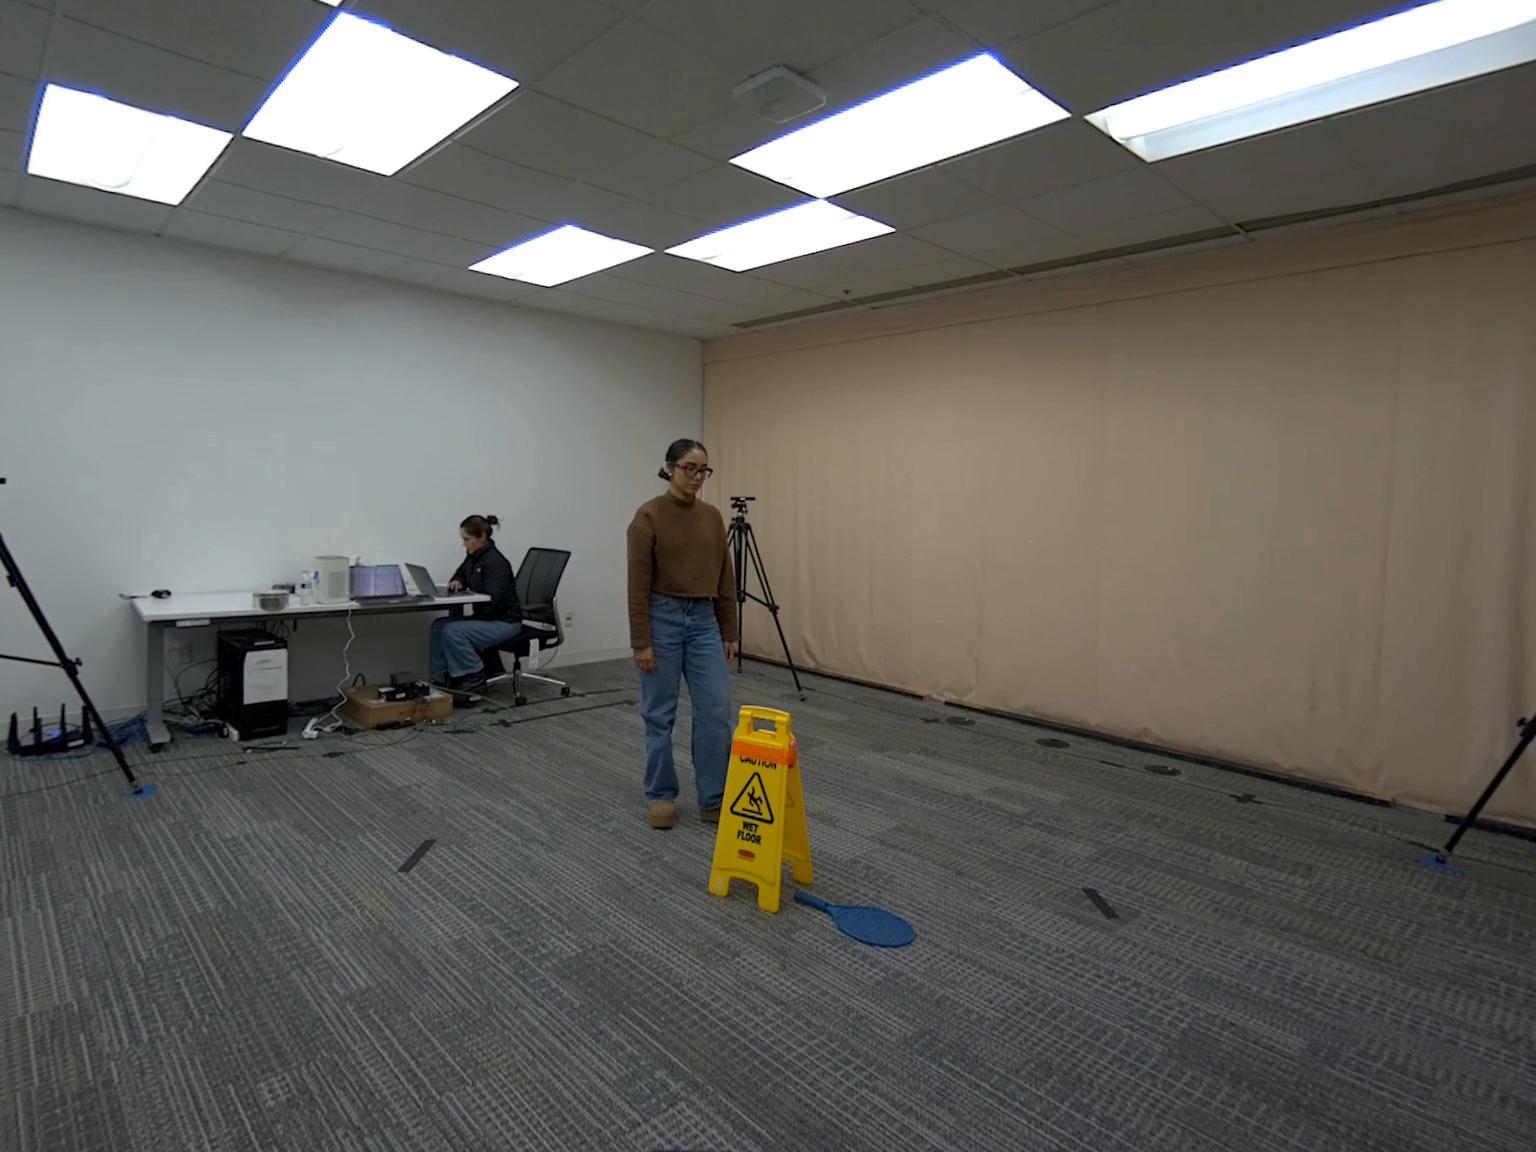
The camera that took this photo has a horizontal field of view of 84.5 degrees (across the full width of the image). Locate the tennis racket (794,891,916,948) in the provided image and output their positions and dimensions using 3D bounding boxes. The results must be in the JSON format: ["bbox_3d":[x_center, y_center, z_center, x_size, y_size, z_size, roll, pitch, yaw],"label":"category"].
[{"bbox_3d":[0.266,1.129,2.798,0.444,0.031,0.209,7,8,35],"label":"tennis racket"}]
